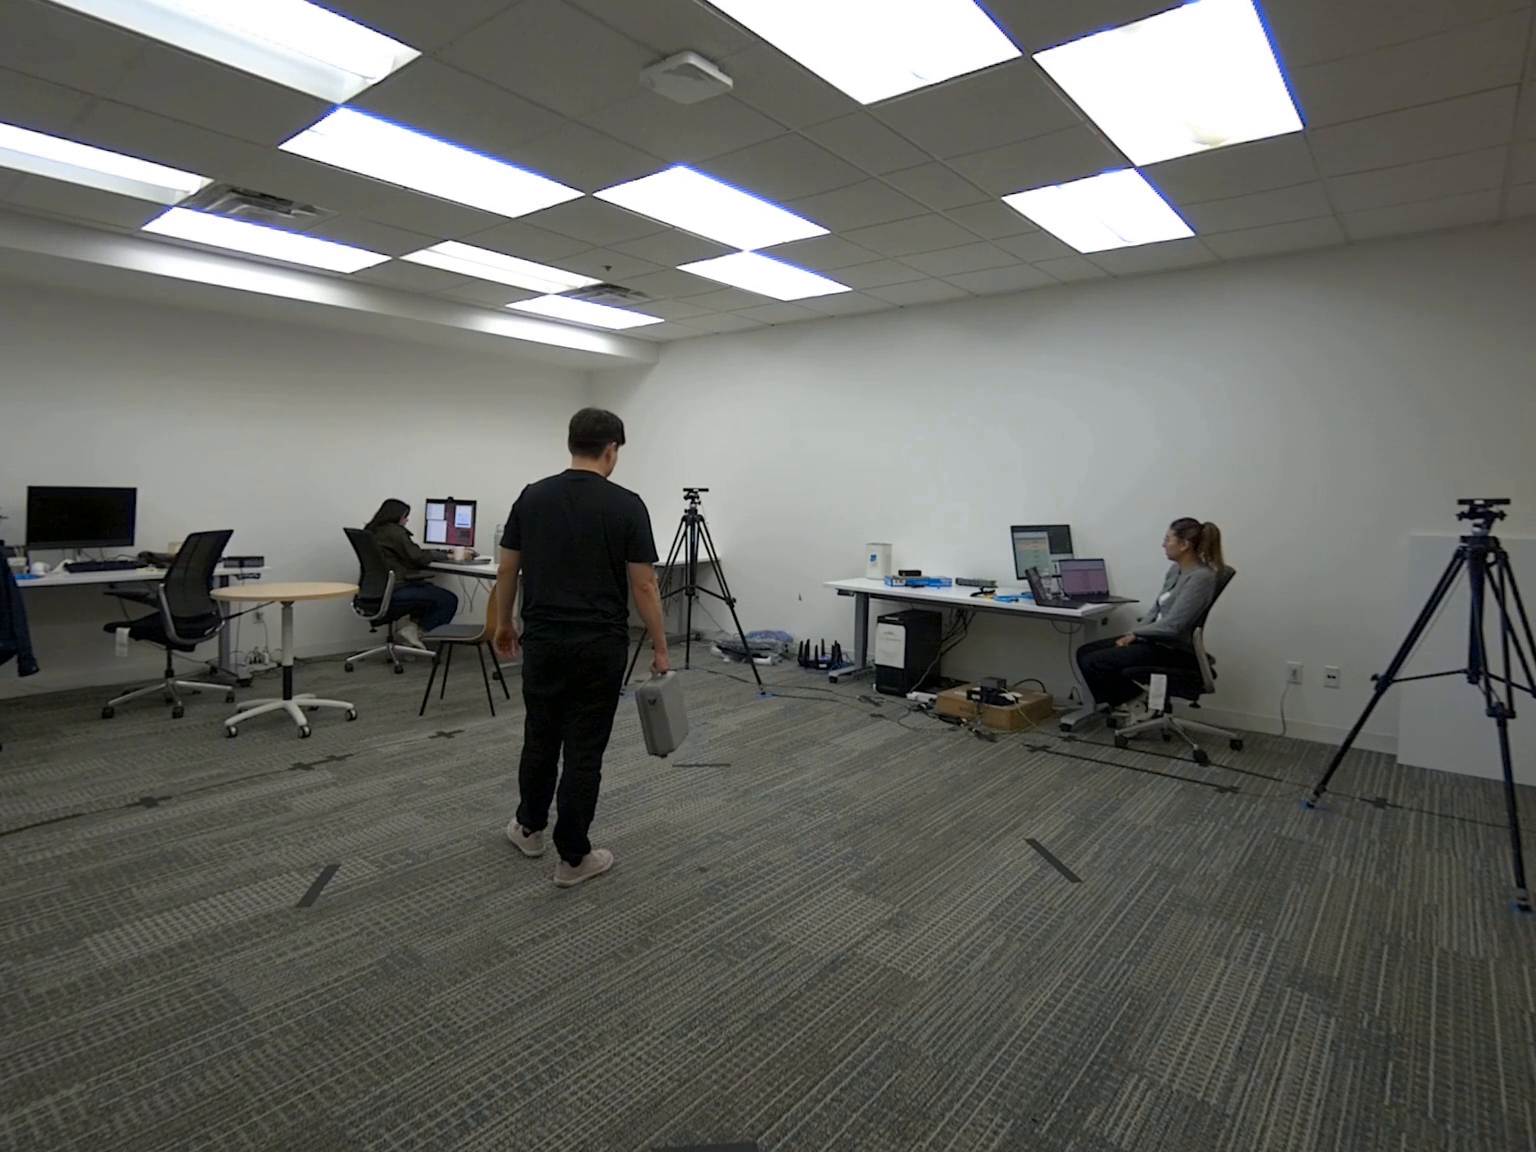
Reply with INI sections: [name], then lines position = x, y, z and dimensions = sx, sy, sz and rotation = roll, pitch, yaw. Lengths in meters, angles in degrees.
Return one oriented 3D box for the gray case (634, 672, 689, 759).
[gray case]
position = -0.396, 0.483, 3.061
dimensions = 0.105, 0.259, 0.255
rotation = -7, 5, 11
